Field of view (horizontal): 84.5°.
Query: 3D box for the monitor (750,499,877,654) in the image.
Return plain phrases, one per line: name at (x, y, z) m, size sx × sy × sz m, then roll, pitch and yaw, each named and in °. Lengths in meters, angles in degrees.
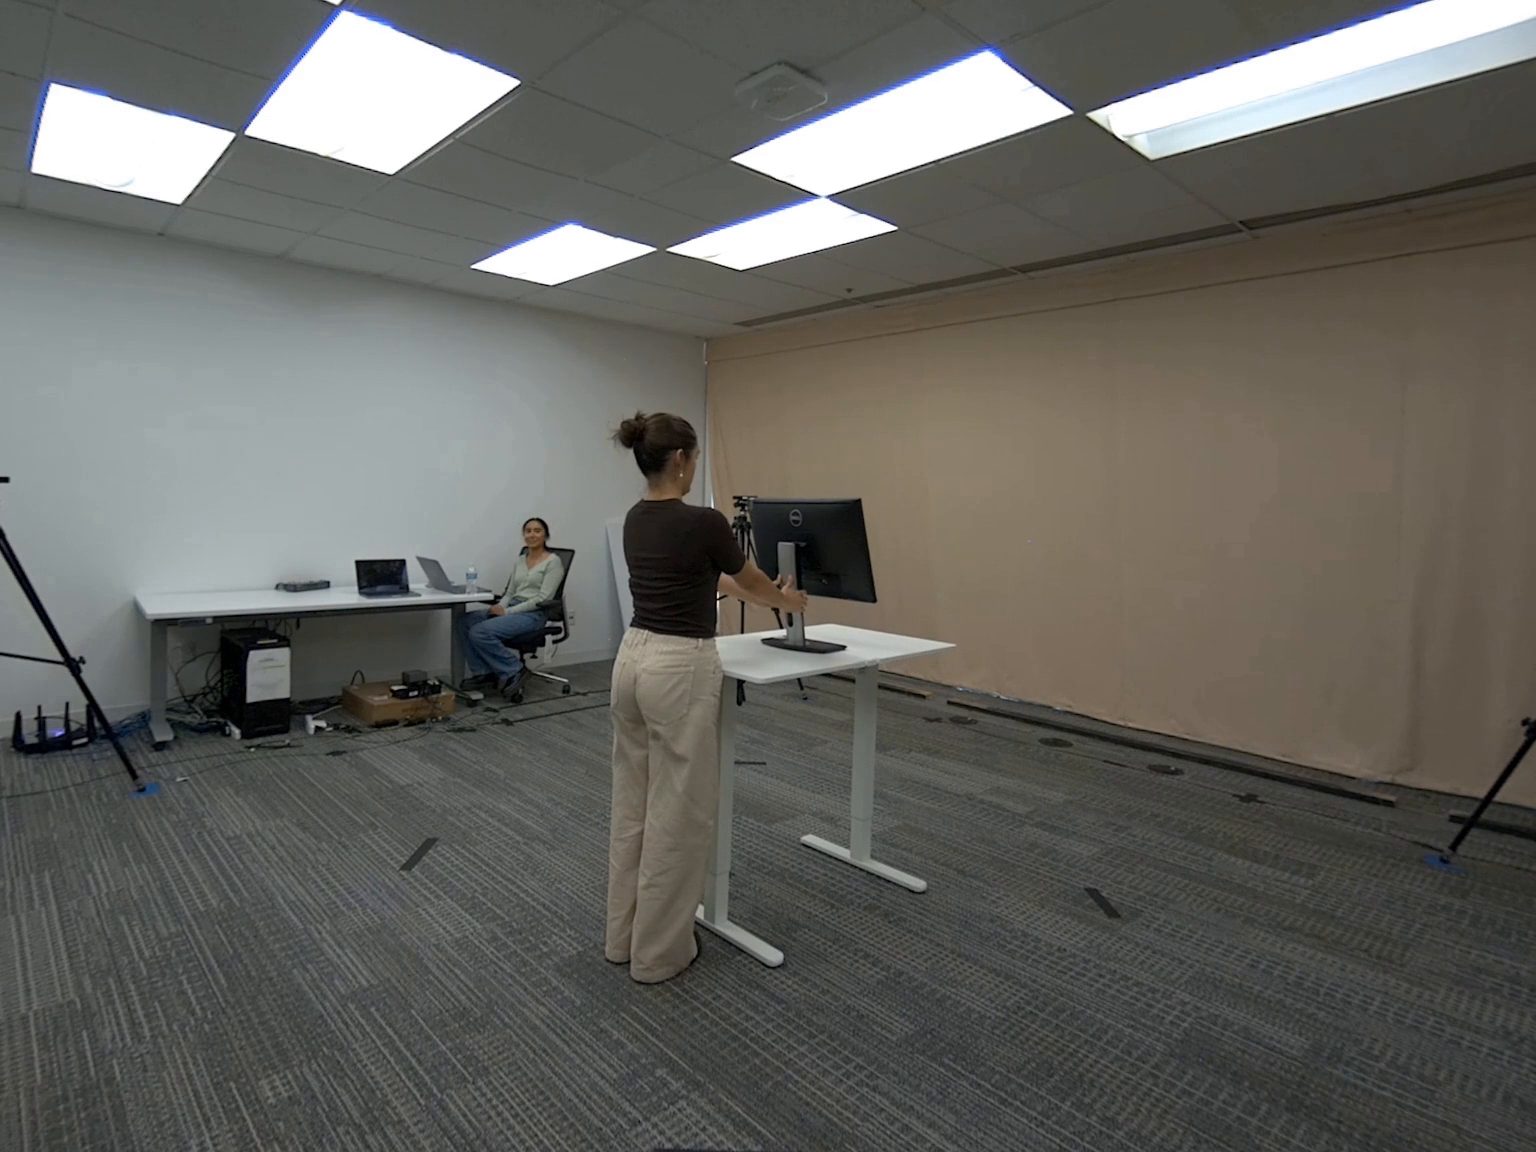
monitor at (0.109, -0.005, 2.888) m, size 0.183 × 0.521 × 0.553 m, roll -4°, pitch 6°, yaw -44°
